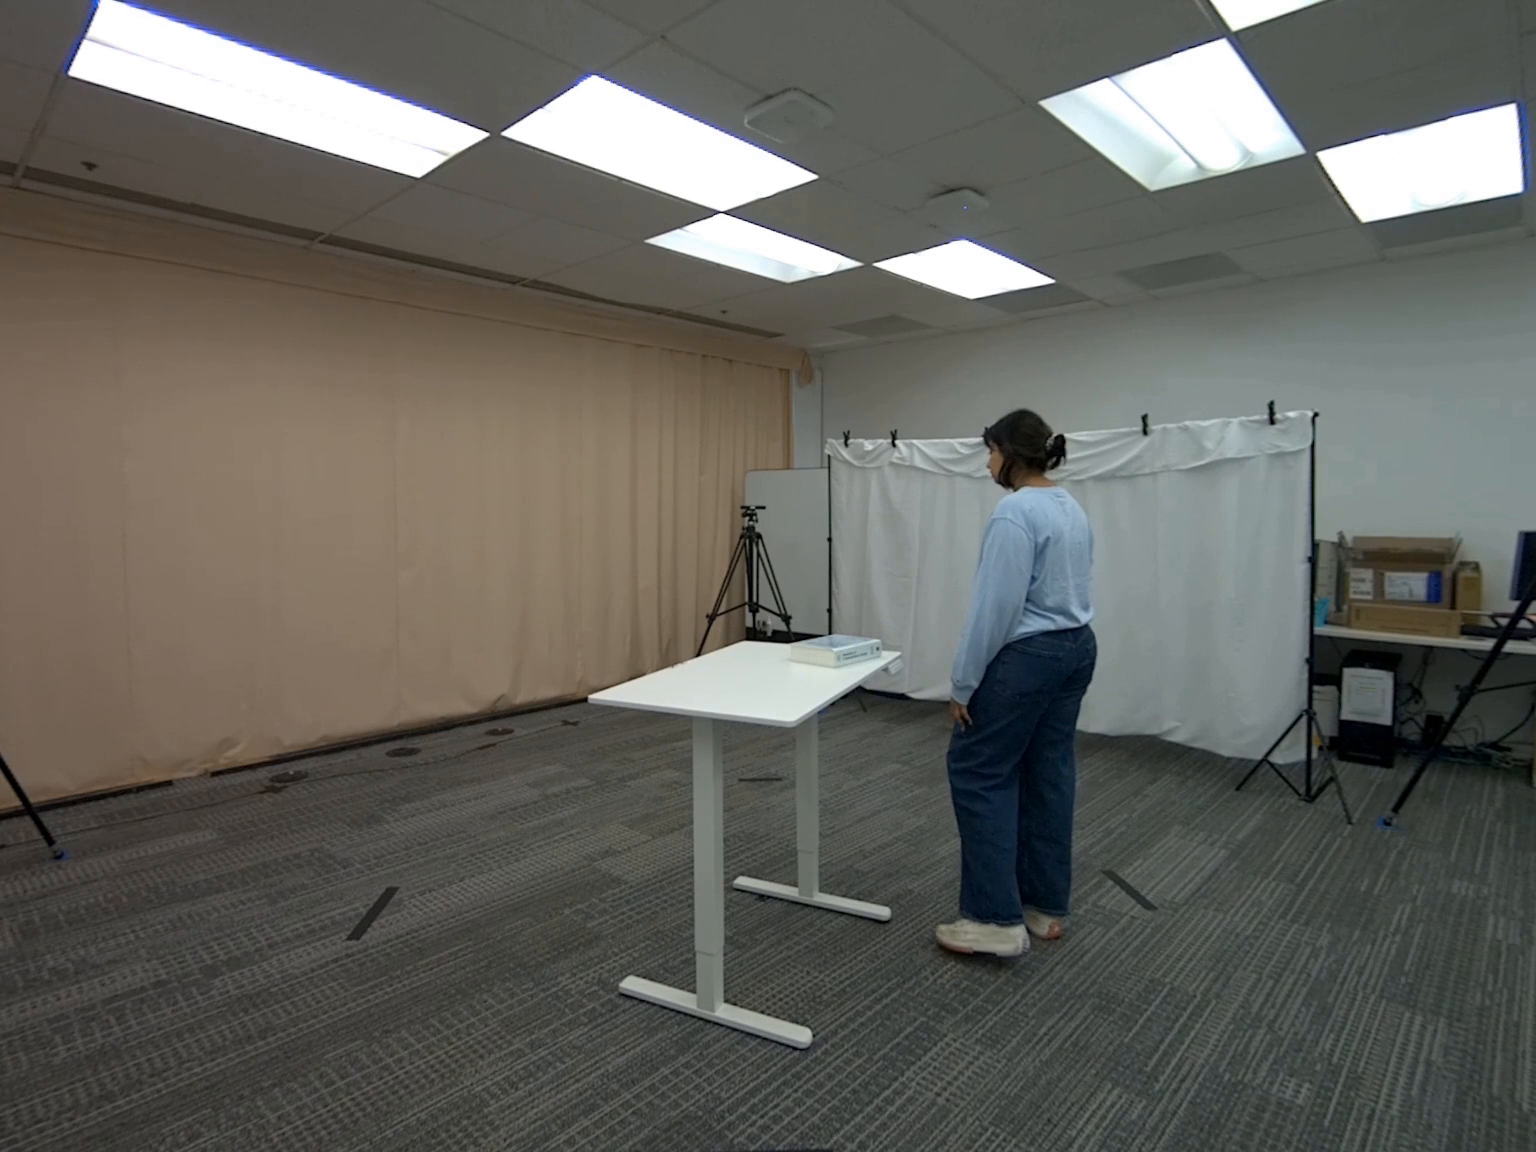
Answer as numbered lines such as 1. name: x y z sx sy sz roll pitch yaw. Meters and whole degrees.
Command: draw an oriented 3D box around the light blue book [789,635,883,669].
1. light blue book: 0.221 0.249 2.772 0.198 0.059 0.253 4 6 43
